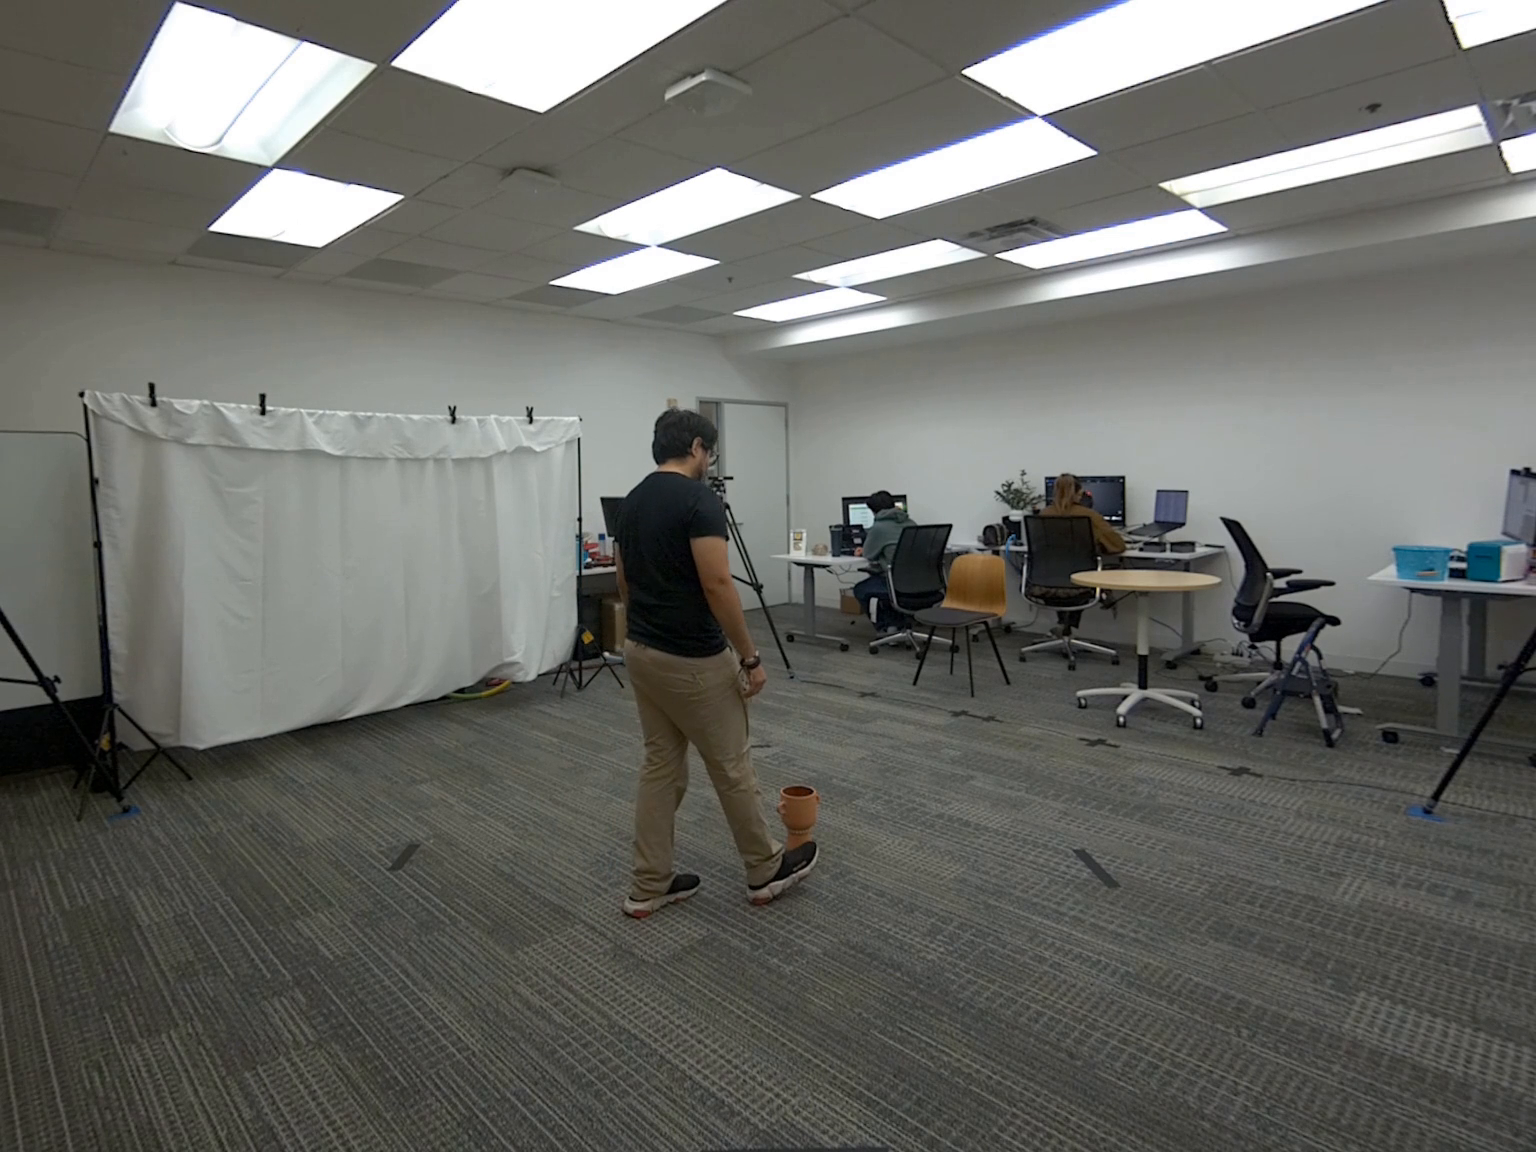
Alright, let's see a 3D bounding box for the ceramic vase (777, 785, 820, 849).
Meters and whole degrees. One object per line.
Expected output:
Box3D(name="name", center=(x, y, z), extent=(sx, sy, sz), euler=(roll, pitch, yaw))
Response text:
Box3D(name="ceramic vase", center=(0.121, 0.908, 3.197), extent=(0.159, 0.219, 0.134), euler=(-1, 3, 4))
